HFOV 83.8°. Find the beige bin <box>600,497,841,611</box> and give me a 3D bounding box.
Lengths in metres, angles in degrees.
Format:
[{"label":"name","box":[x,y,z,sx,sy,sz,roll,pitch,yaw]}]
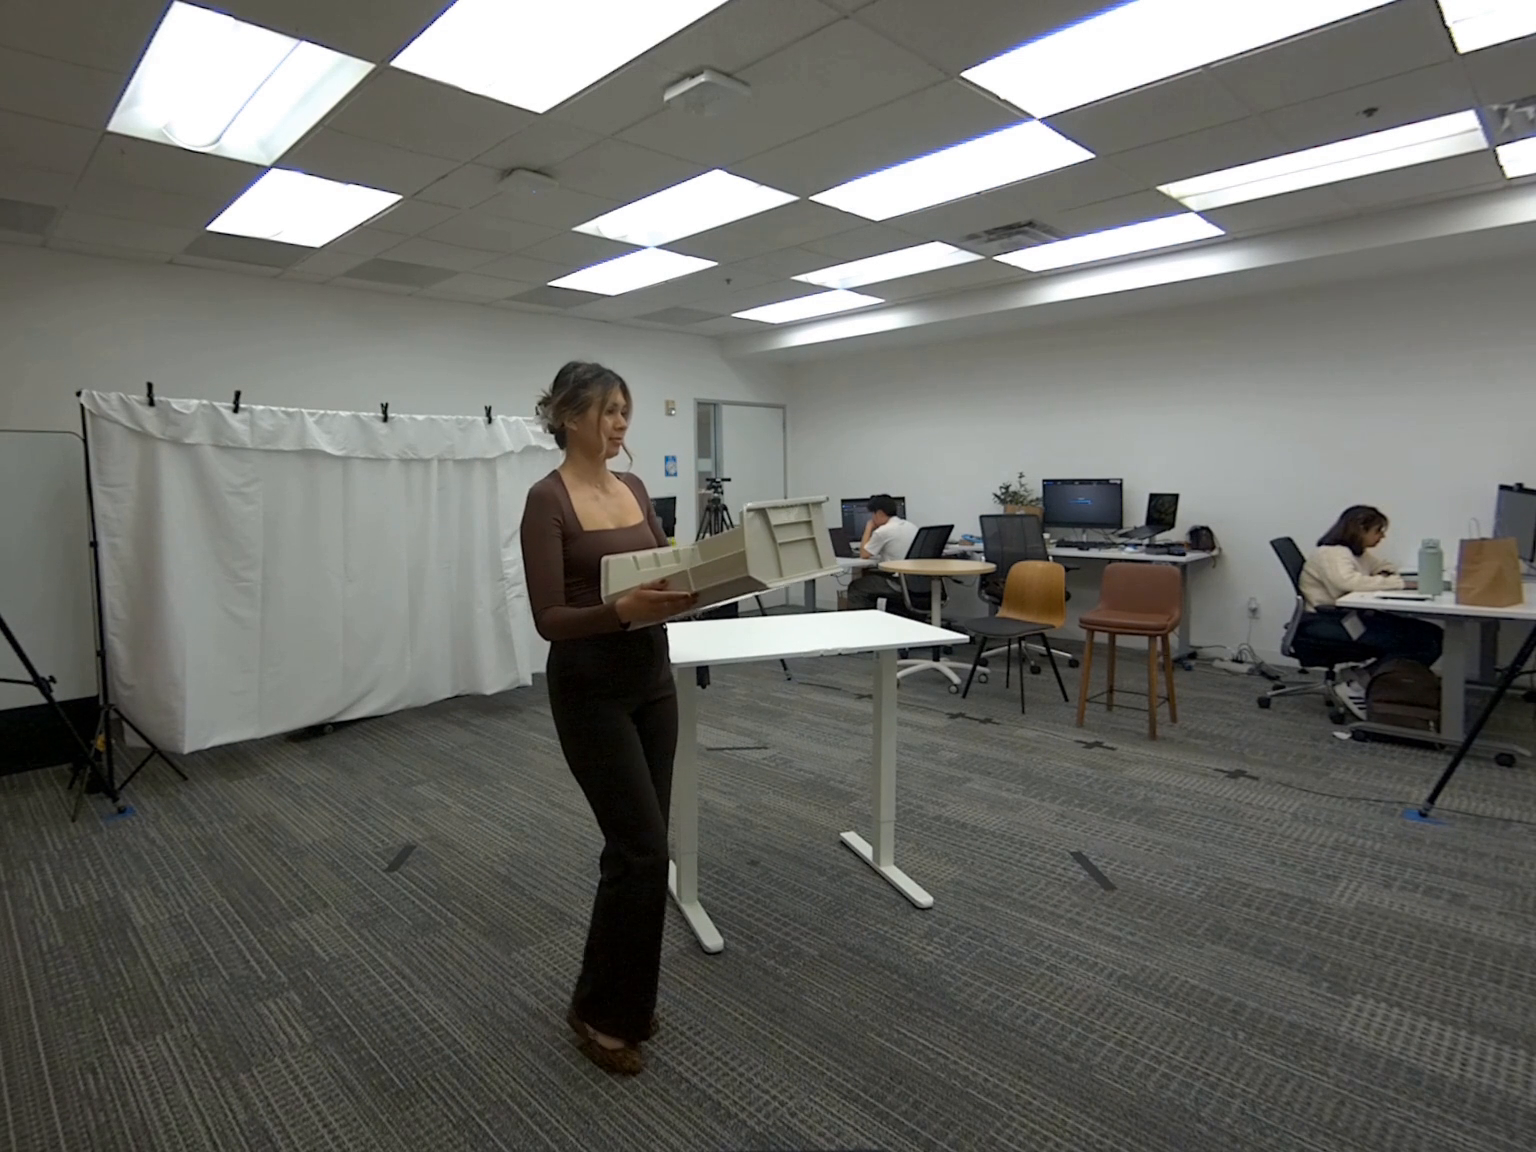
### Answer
[{"label":"beige bin","box":[-0.100,-0.025,1.936,0.430,0.190,0.368,-17,-4,36]}]
